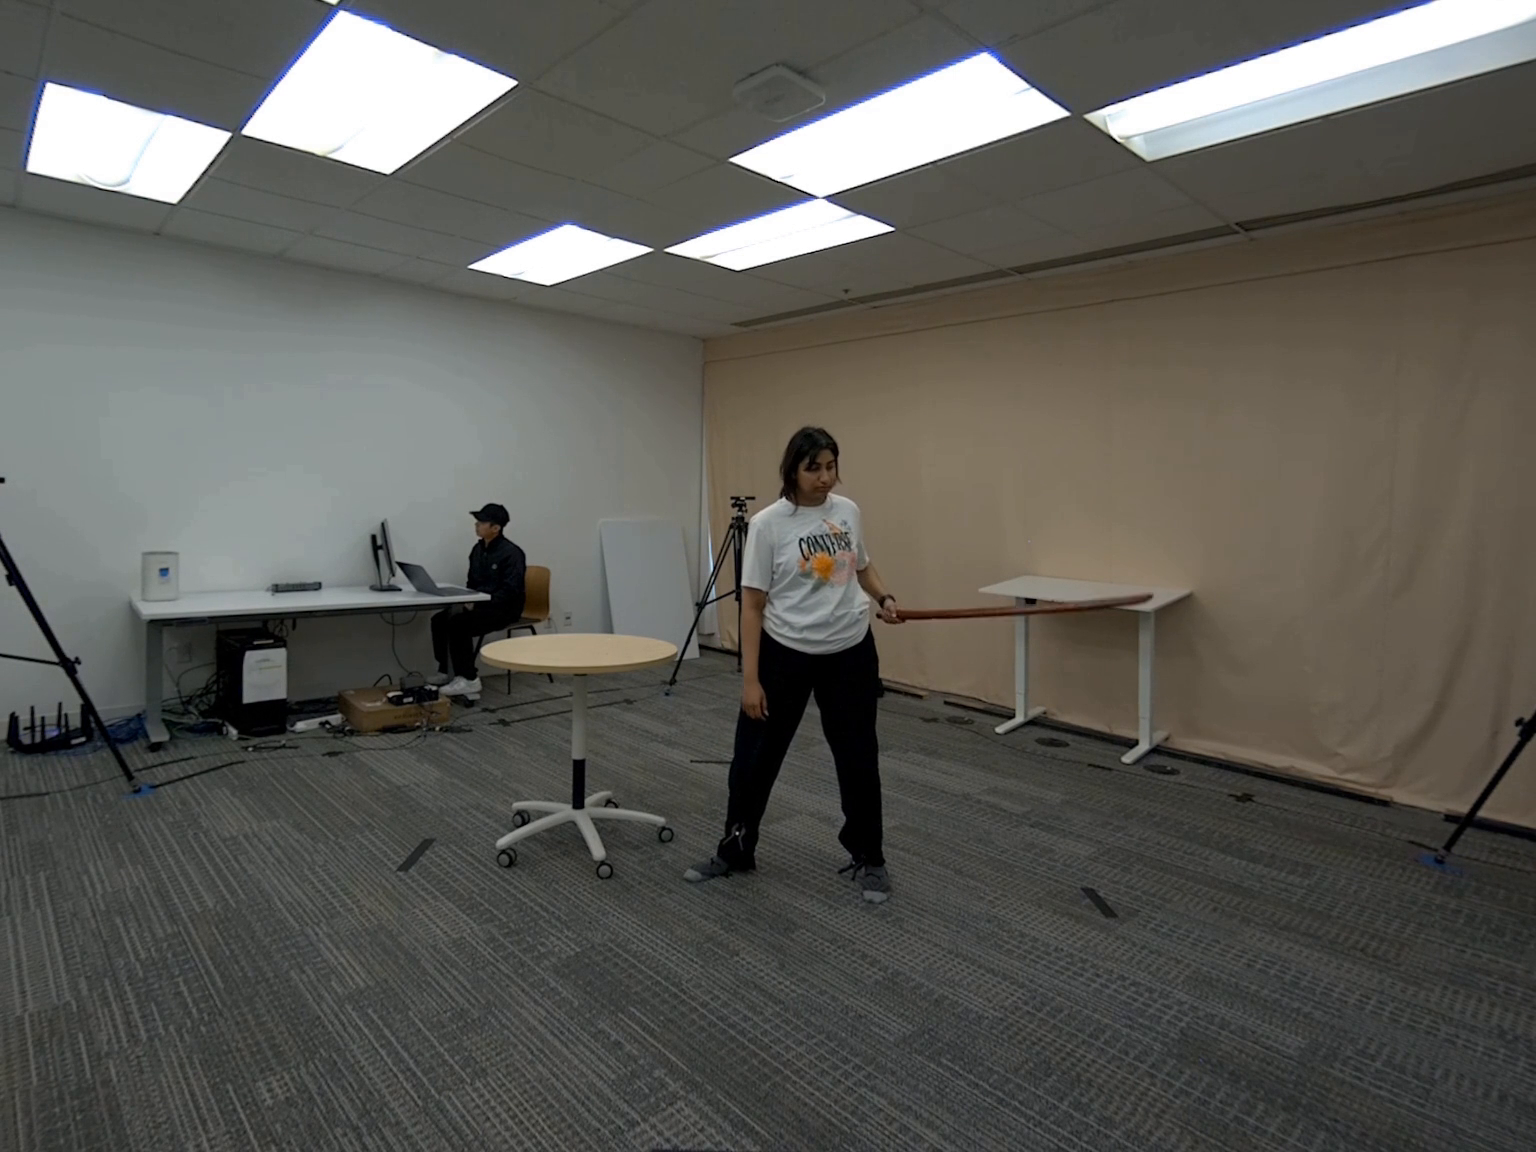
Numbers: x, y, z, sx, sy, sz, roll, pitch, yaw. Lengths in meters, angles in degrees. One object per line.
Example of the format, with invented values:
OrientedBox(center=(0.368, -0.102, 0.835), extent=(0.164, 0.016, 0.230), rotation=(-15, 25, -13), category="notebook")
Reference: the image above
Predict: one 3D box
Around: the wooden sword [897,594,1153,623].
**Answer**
OrientedBox(center=(0.714, 0.116, 2.648), extent=(0.050, 0.024, 1.043), rotation=(-13, 2, -37), category="wooden sword")
